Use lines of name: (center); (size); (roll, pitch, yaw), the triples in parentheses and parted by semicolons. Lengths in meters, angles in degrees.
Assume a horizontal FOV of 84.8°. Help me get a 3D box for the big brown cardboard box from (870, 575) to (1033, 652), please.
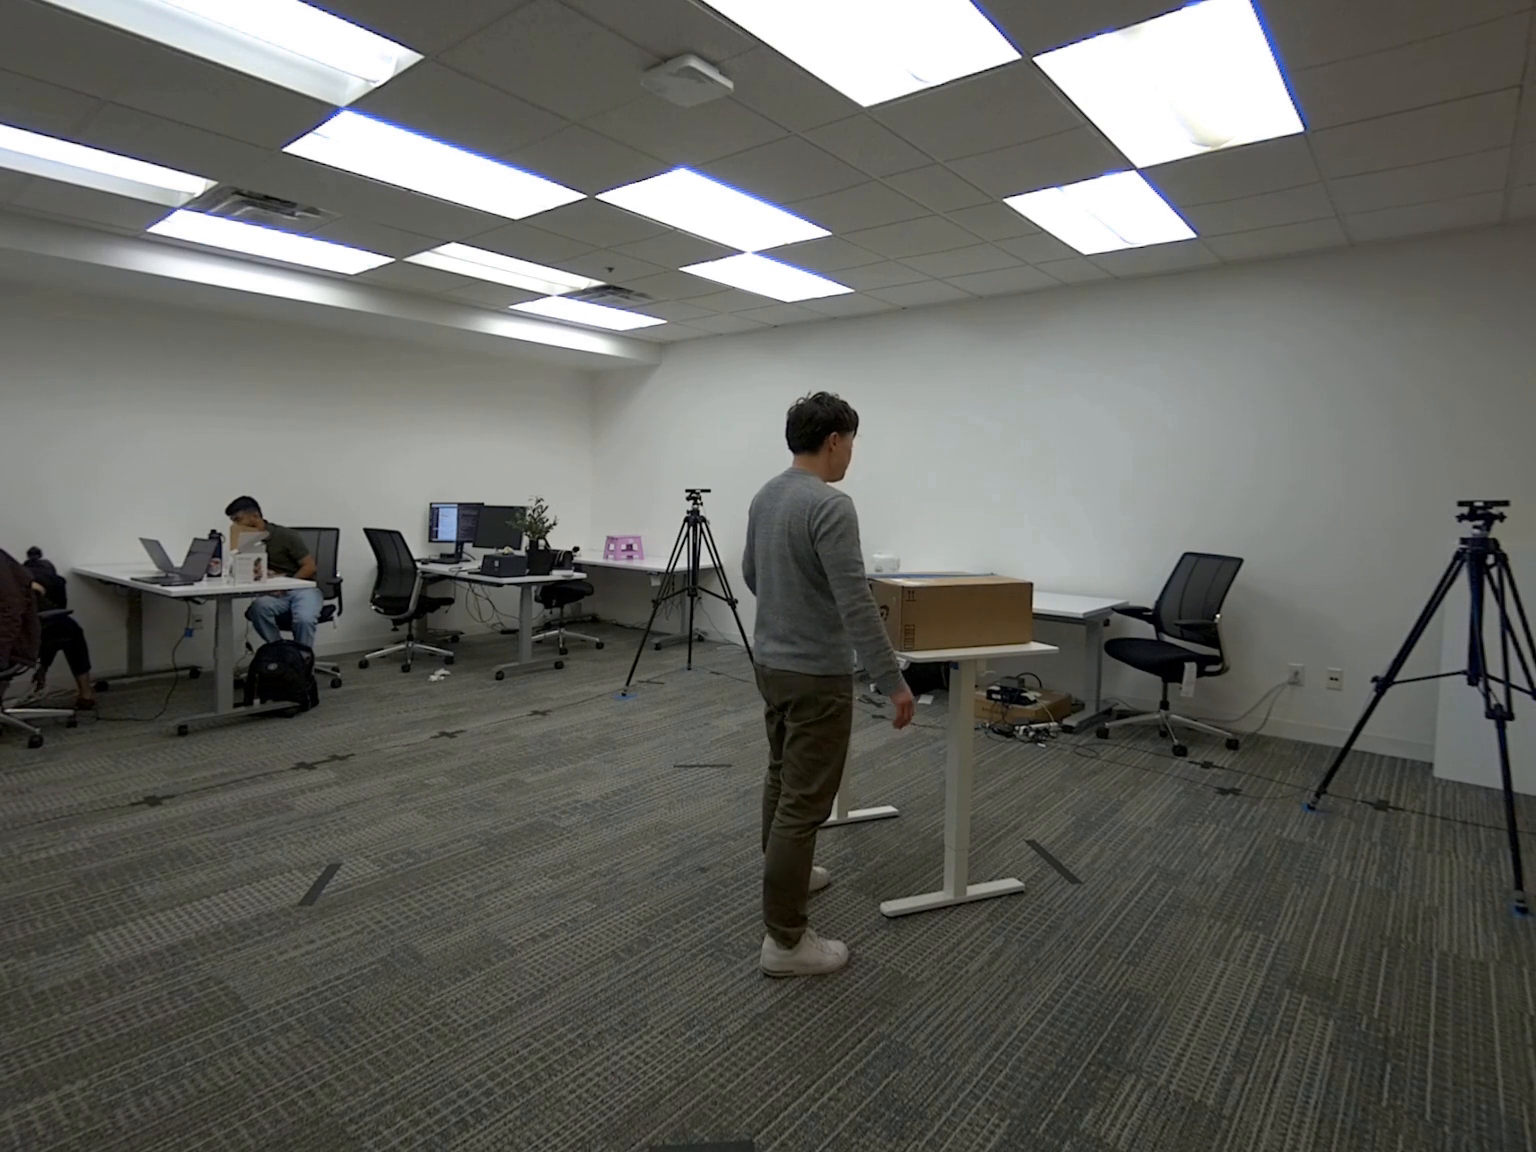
big brown cardboard box: (0.573, 0.110, 3.027); (0.574, 0.232, 0.429); (0, 5, -27)
